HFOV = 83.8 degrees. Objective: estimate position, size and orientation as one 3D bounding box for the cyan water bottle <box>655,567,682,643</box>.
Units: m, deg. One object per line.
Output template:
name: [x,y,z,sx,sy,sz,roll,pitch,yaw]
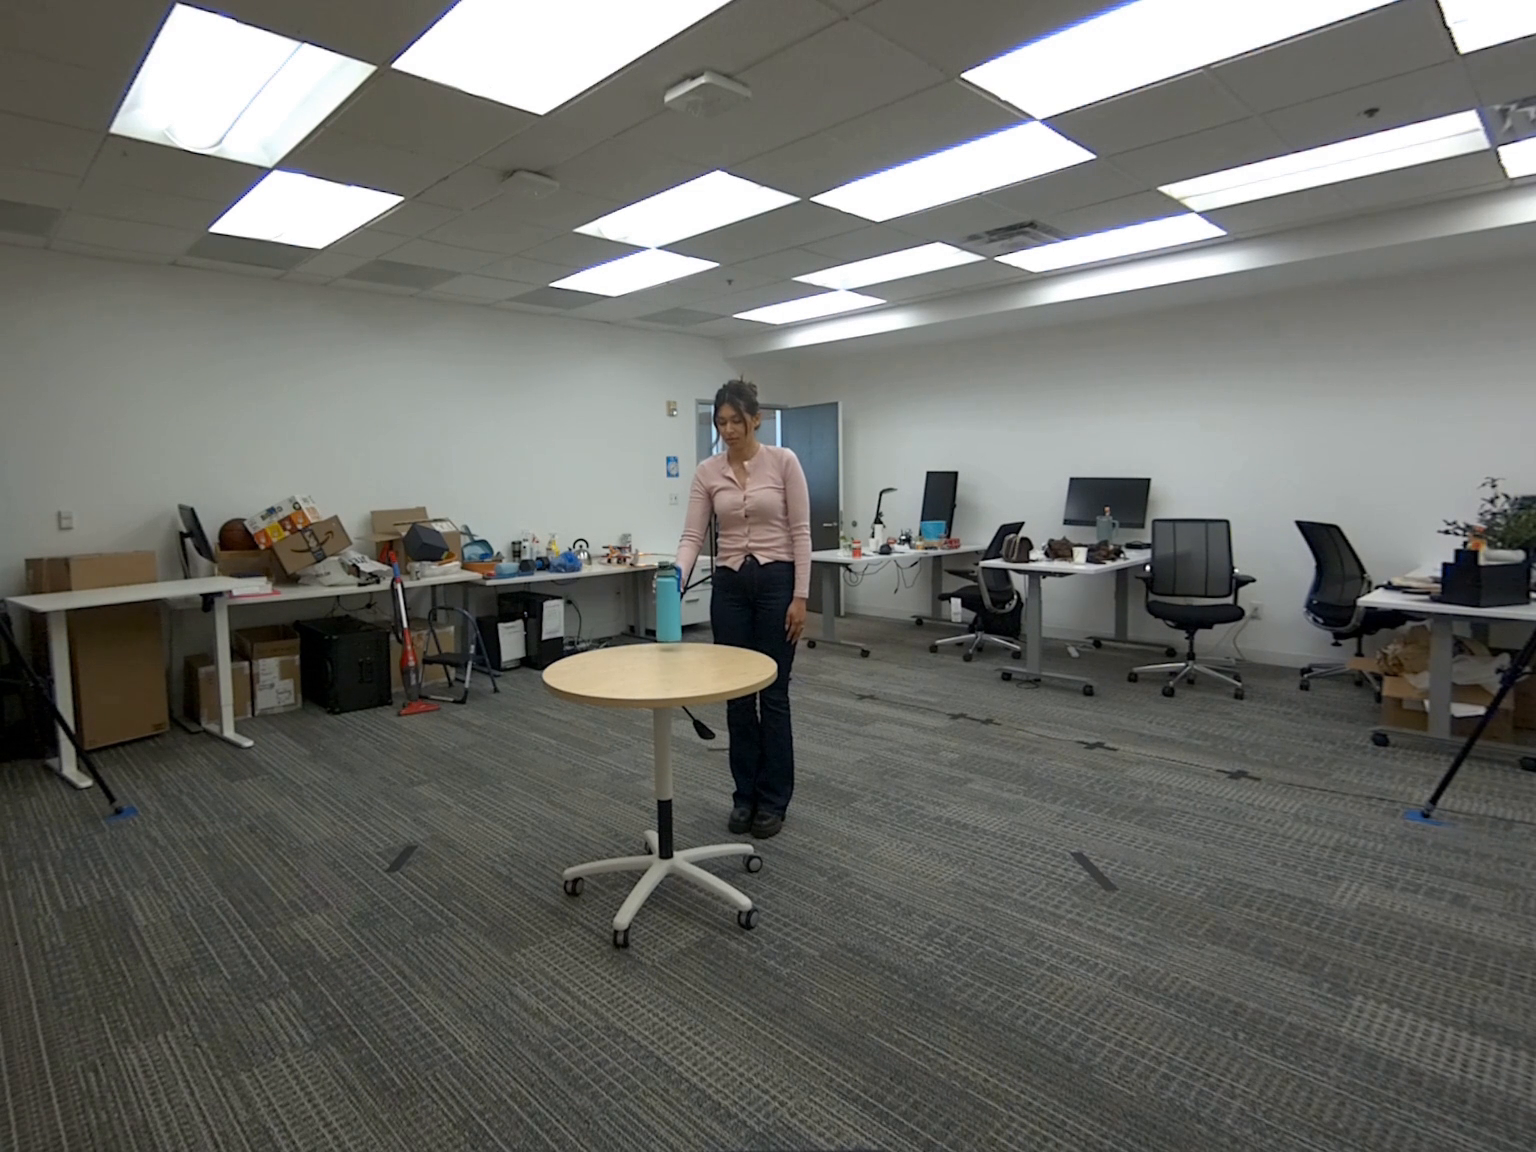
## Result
cyan water bottle: [-0.358,0.089,3.064,0.092,0.283,0.092,1,2,-2]
